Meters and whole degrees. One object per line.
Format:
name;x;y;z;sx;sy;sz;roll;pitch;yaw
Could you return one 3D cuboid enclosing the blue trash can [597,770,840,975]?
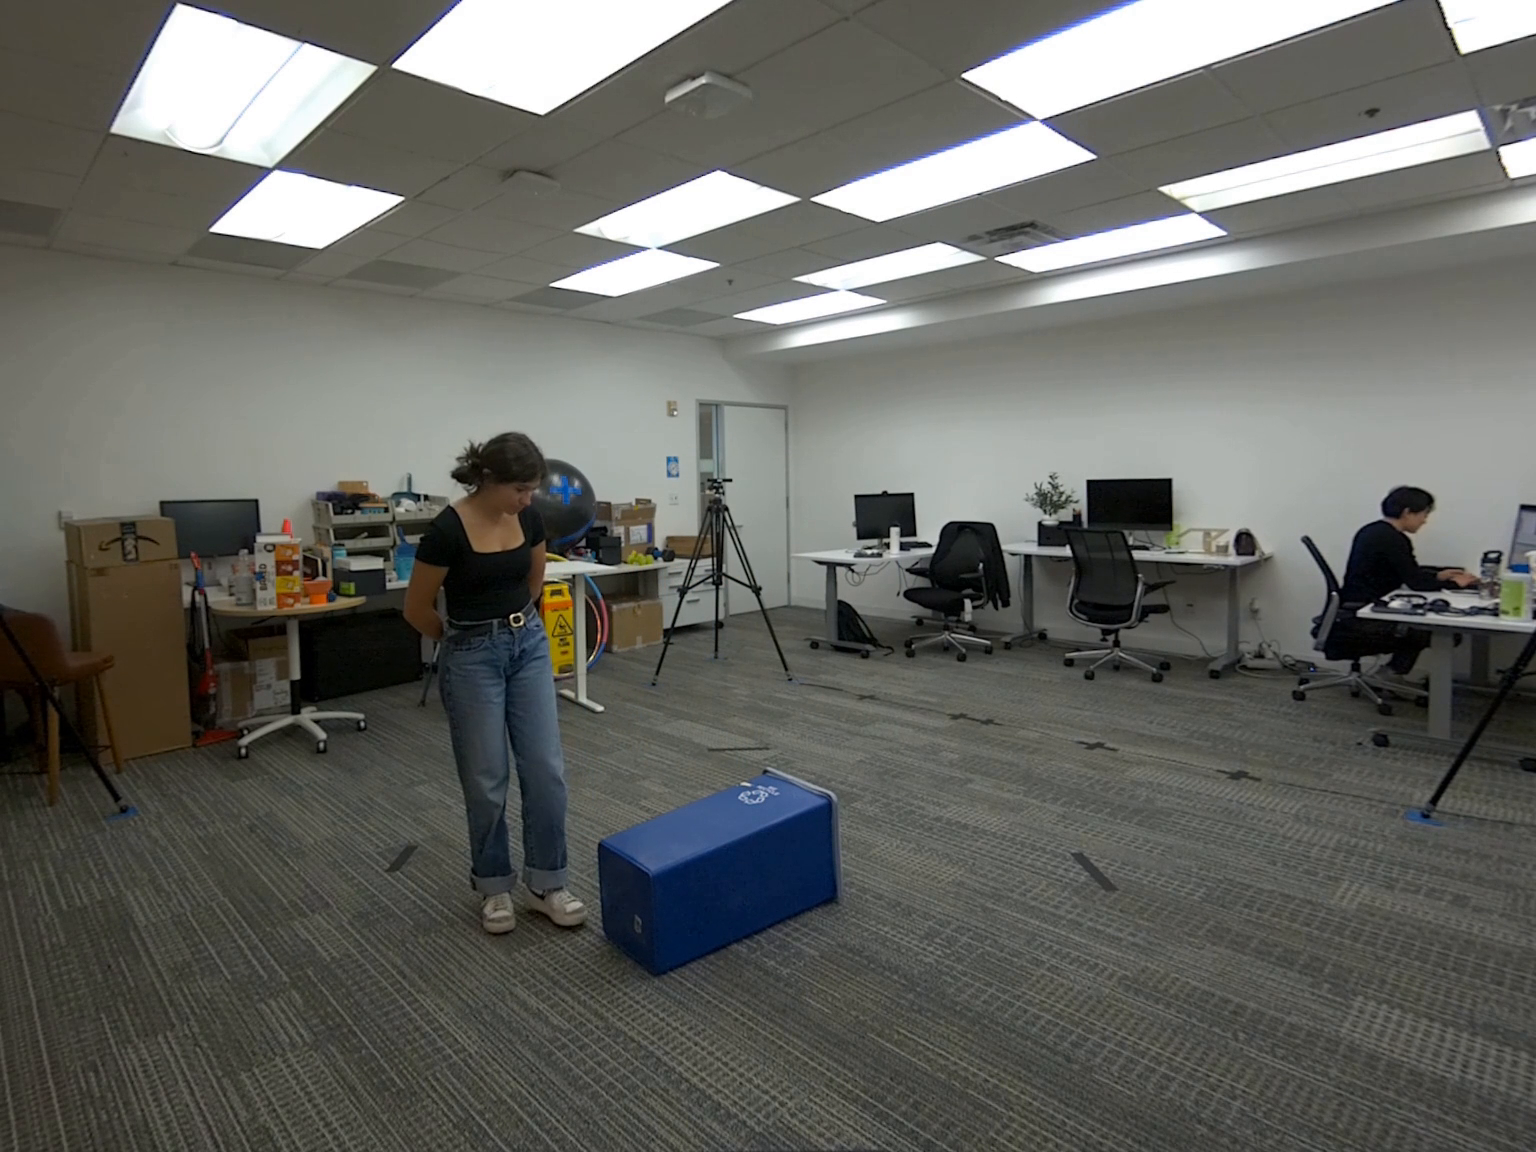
blue trash can;-0.143;0.928;2.718;0.696;0.376;0.385;-10;10;-39
